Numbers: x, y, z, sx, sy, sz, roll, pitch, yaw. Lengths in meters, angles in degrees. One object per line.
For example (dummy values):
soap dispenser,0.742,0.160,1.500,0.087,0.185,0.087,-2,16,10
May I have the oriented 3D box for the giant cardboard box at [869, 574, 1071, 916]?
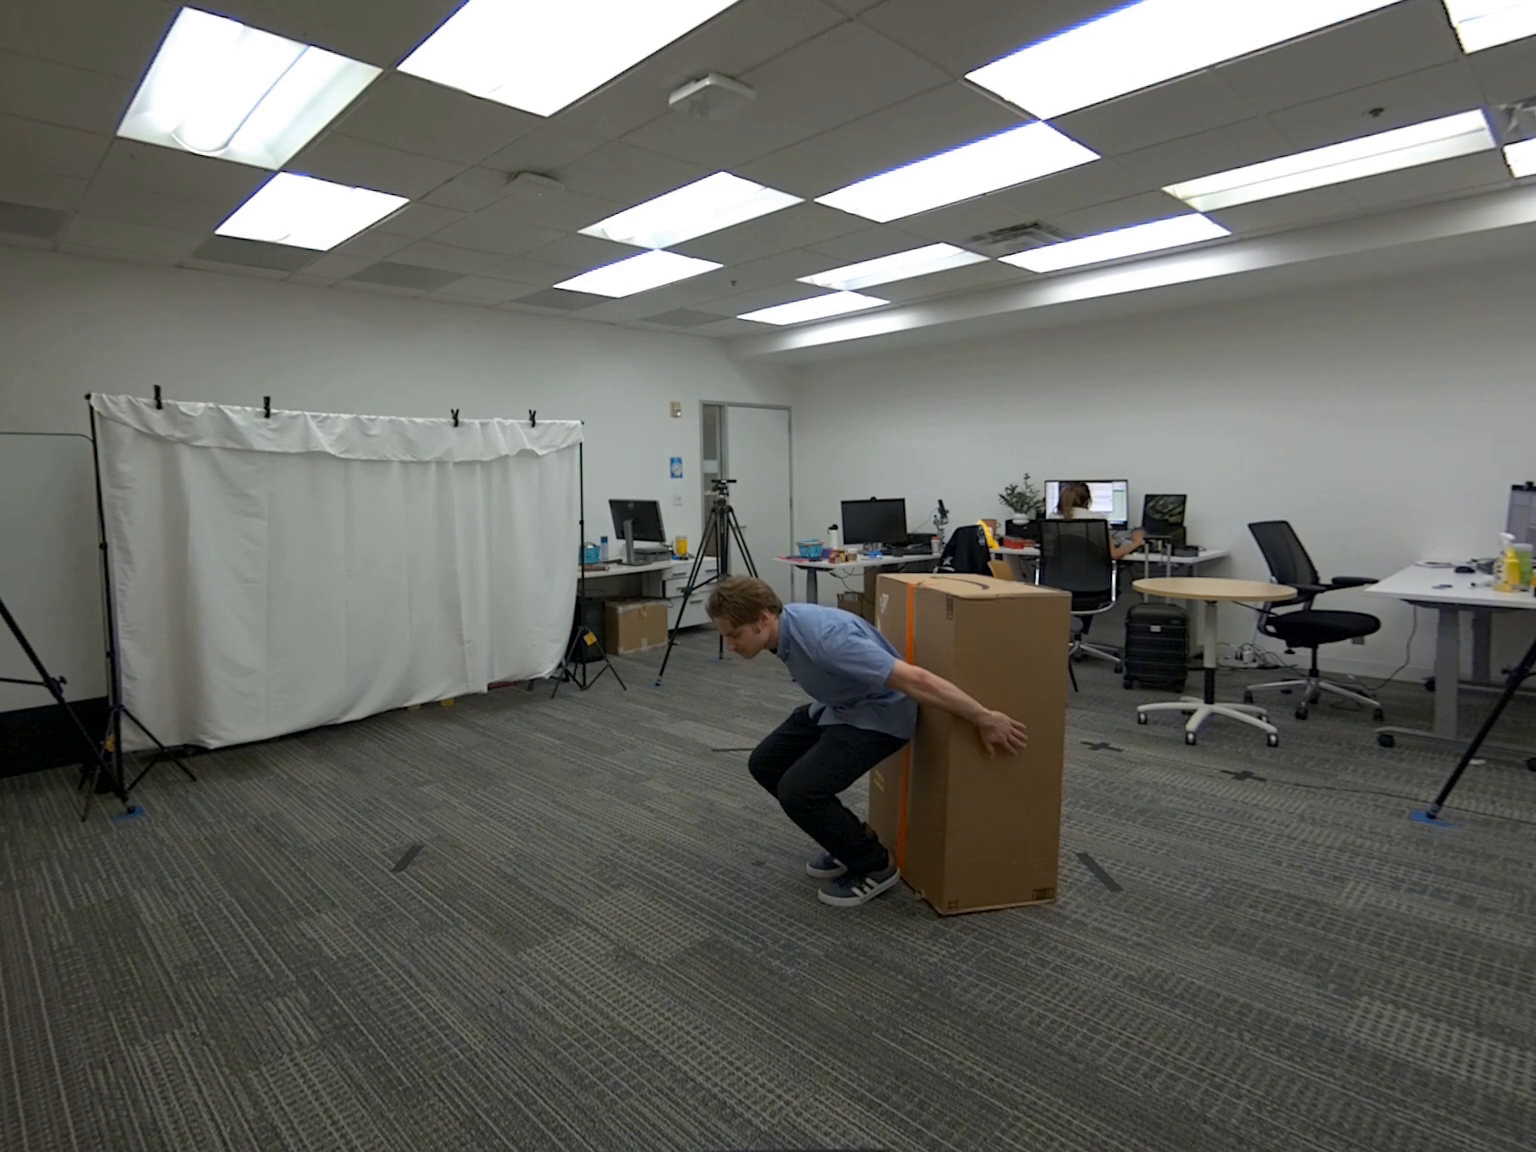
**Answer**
giant cardboard box,0.678,0.536,2.988,0.440,1.023,0.595,1,4,-18
